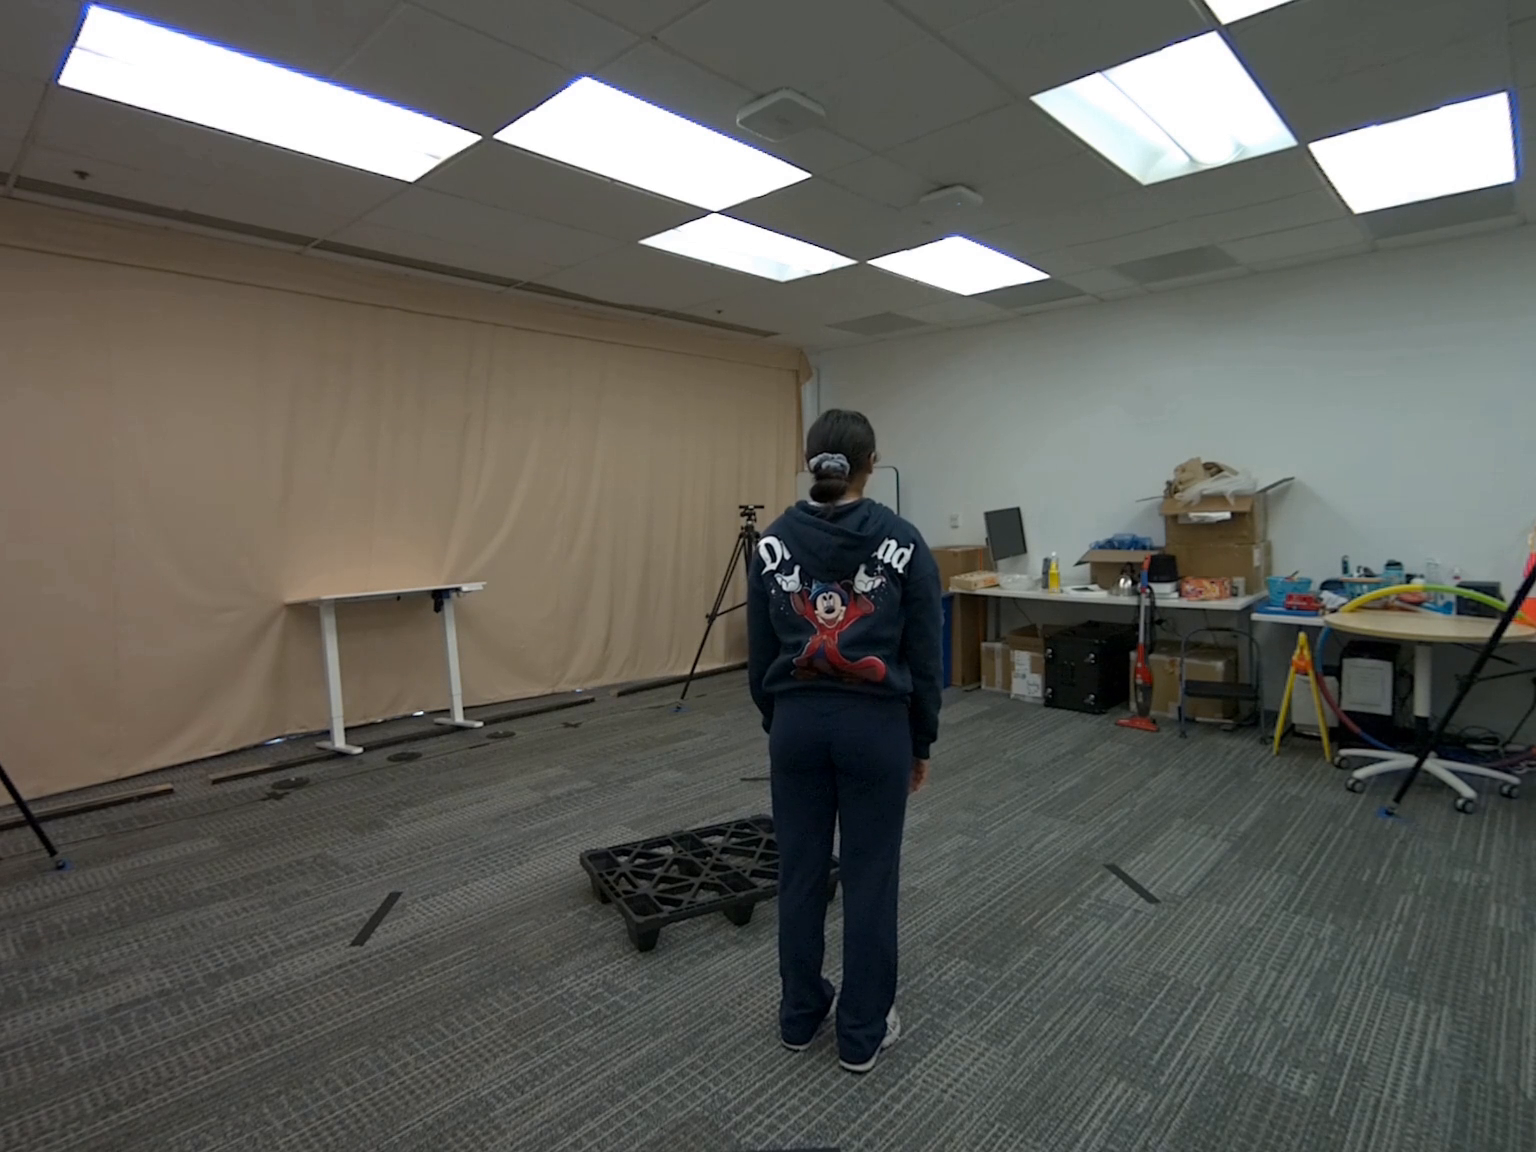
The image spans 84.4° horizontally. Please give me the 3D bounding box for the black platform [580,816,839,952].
[{"bbox_3d":[-0.202,1.077,3.001,0.785,0.143,0.622,-4,5,-28],"label":"black platform"}]
